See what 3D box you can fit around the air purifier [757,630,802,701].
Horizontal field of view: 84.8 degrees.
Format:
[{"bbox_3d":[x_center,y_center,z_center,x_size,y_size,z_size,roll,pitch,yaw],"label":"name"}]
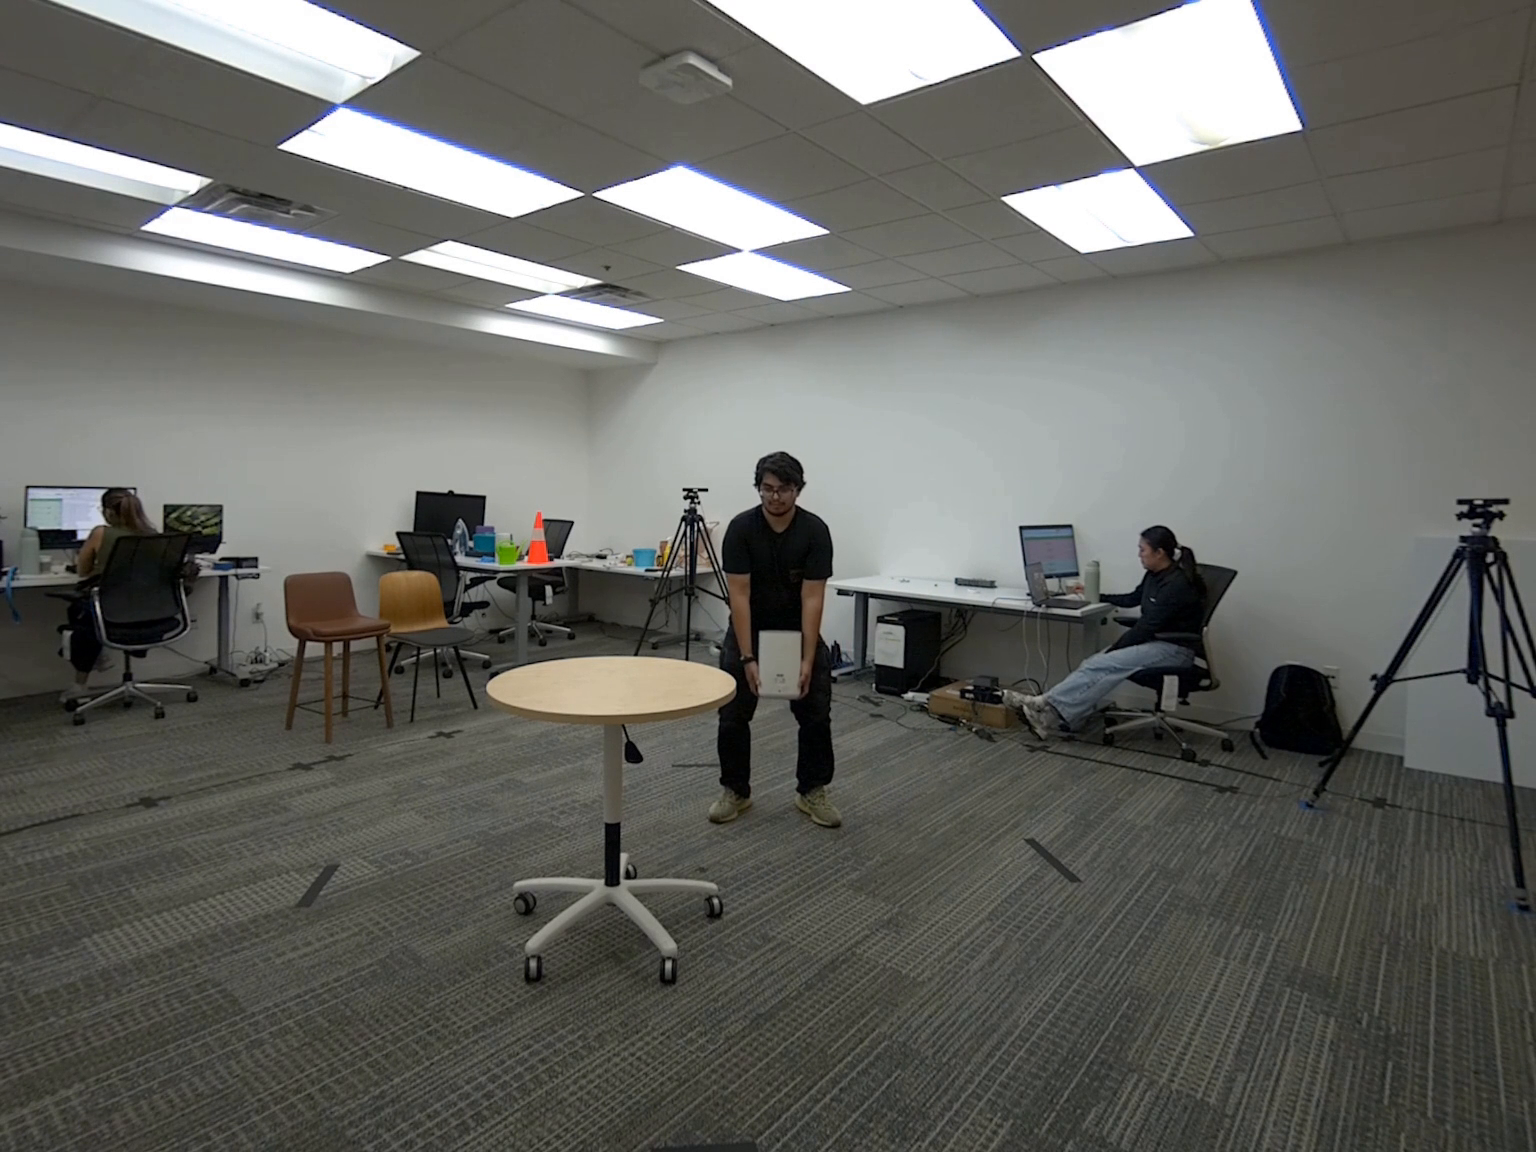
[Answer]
[{"bbox_3d":[0.036,0.352,3.423,0.169,0.264,0.172,1,-8,3],"label":"air purifier"}]
